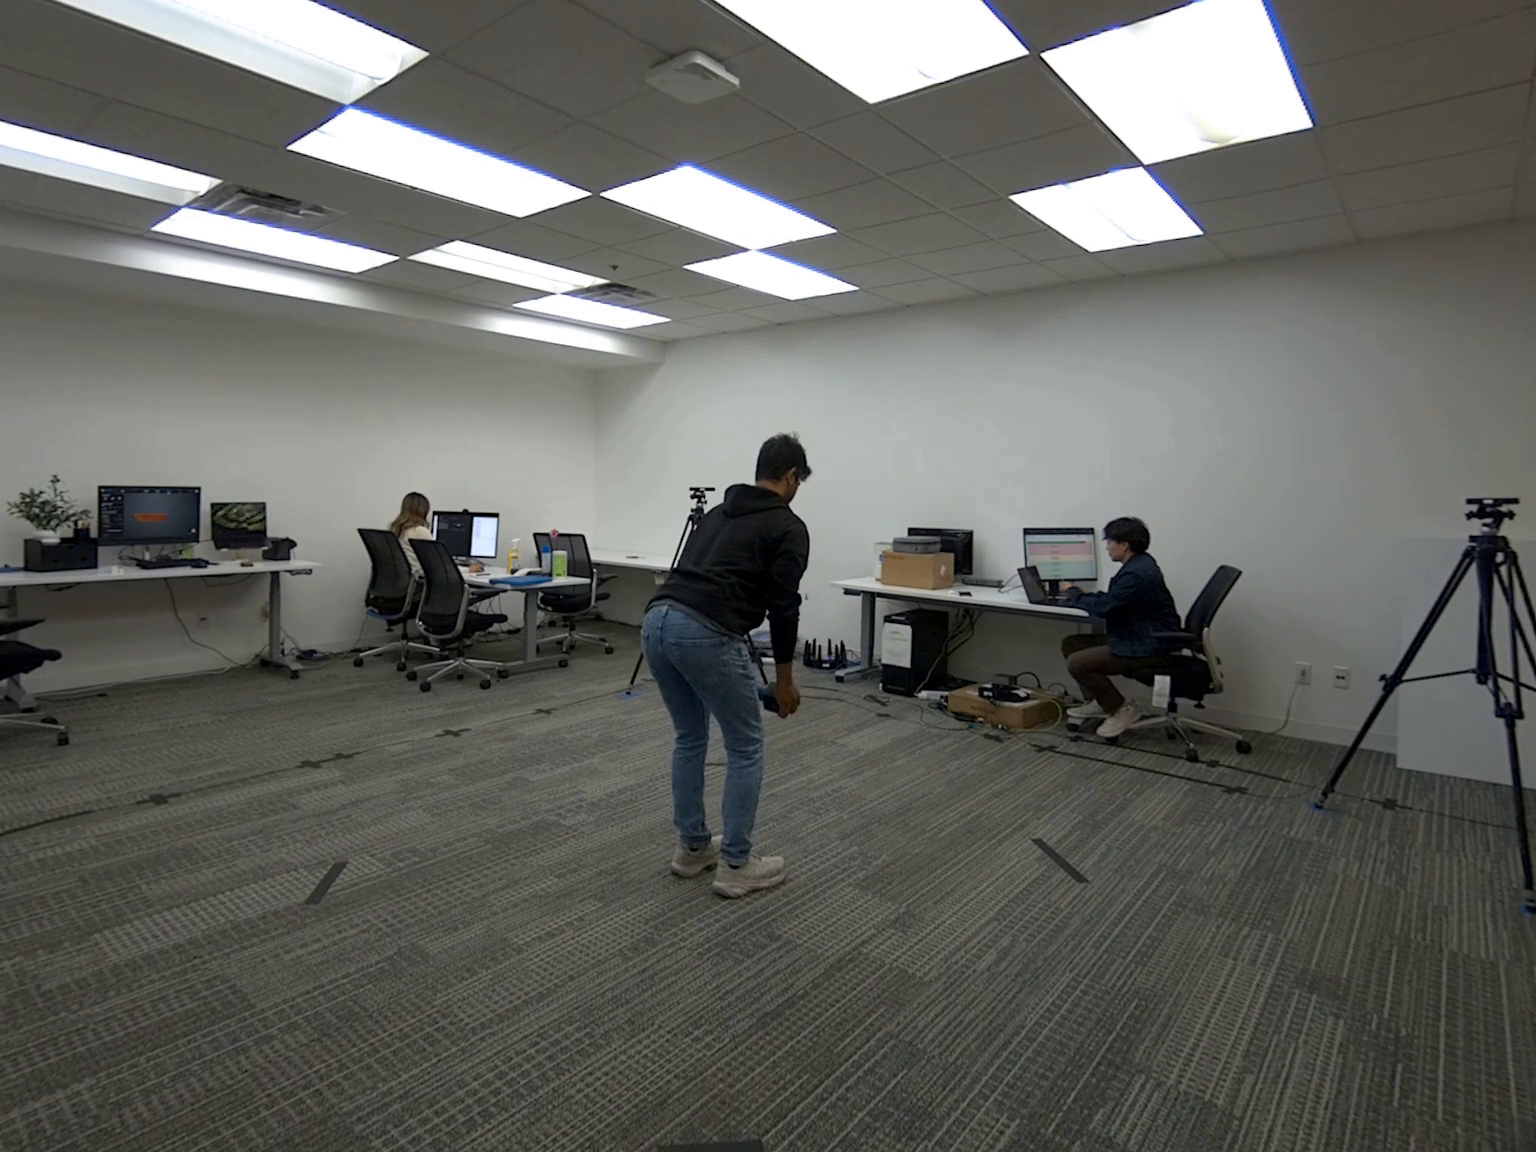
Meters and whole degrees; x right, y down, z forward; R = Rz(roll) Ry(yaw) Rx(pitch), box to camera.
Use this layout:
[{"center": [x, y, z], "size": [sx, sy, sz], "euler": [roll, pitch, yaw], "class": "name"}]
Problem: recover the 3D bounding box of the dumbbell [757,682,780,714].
[{"center": [-0.060, 0.438, 3.166], "size": [0.304, 0.105, 0.123], "euler": [9, 48, 41], "class": "dumbbell"}]
